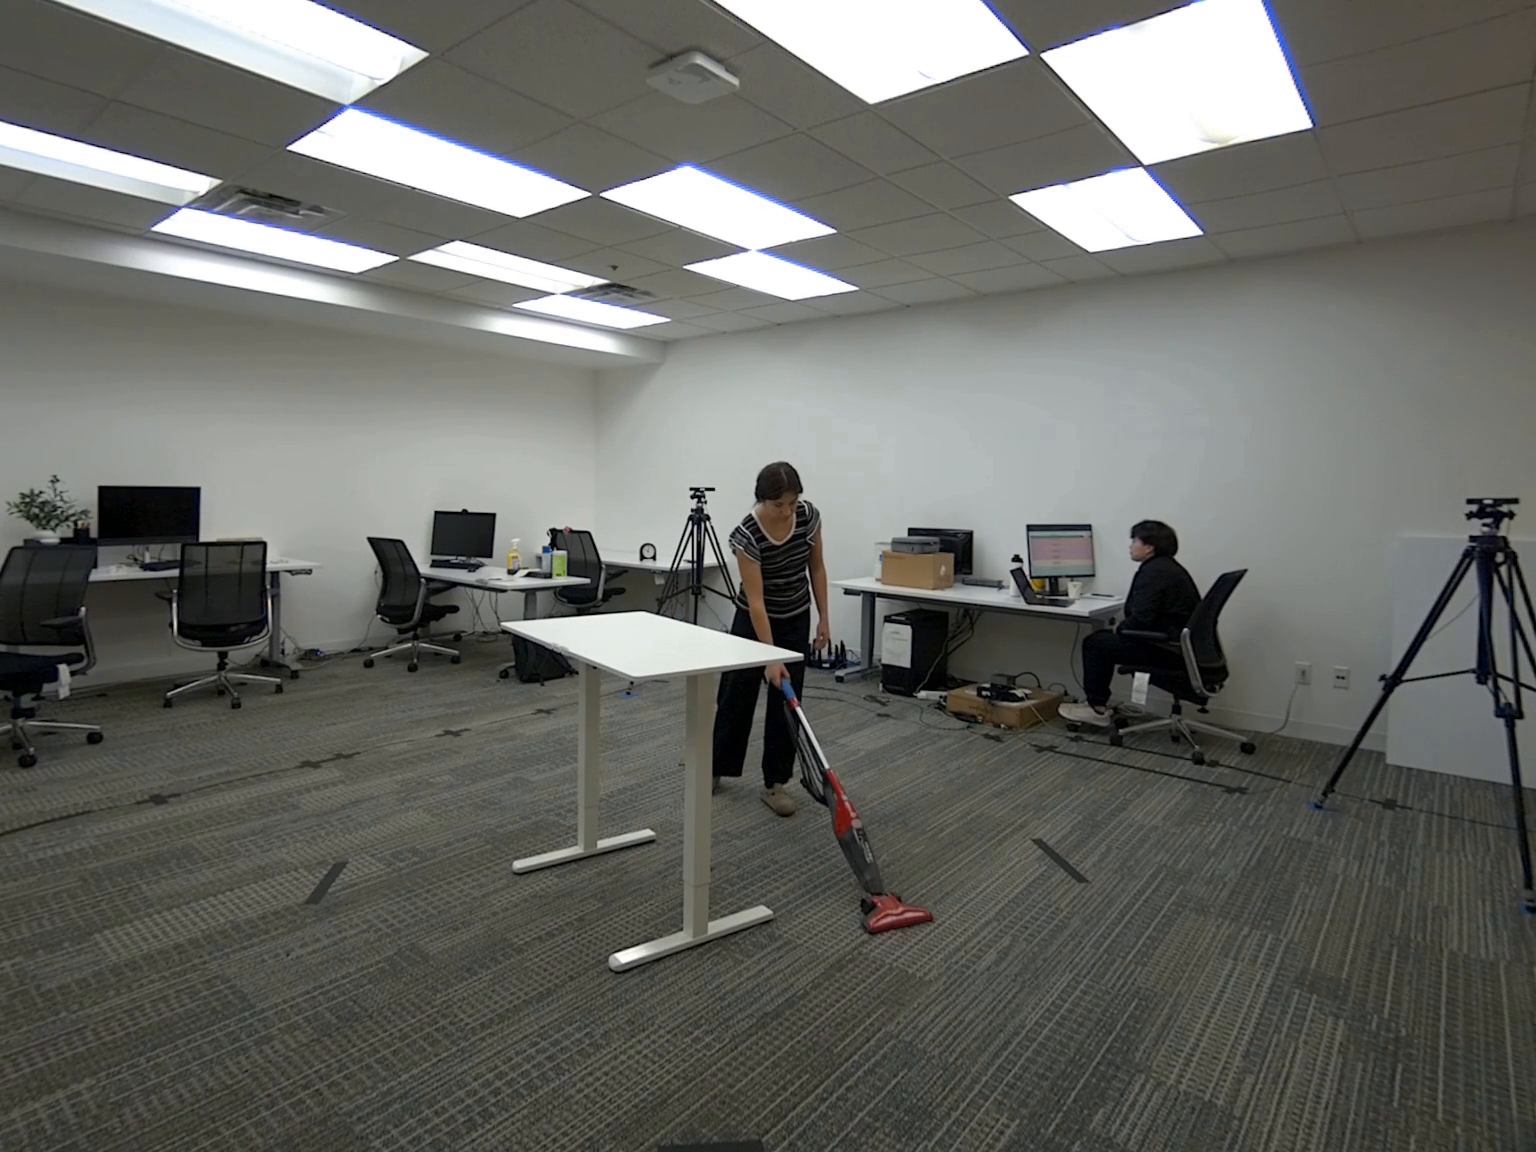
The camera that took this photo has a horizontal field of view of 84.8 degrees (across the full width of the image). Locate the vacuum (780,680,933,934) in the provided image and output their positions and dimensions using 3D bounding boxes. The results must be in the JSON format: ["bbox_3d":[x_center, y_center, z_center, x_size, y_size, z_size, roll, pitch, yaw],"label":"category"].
[{"bbox_3d":[0.211,0.752,3.147,0.245,0.142,1.092,7,36,-32],"label":"vacuum"}]
